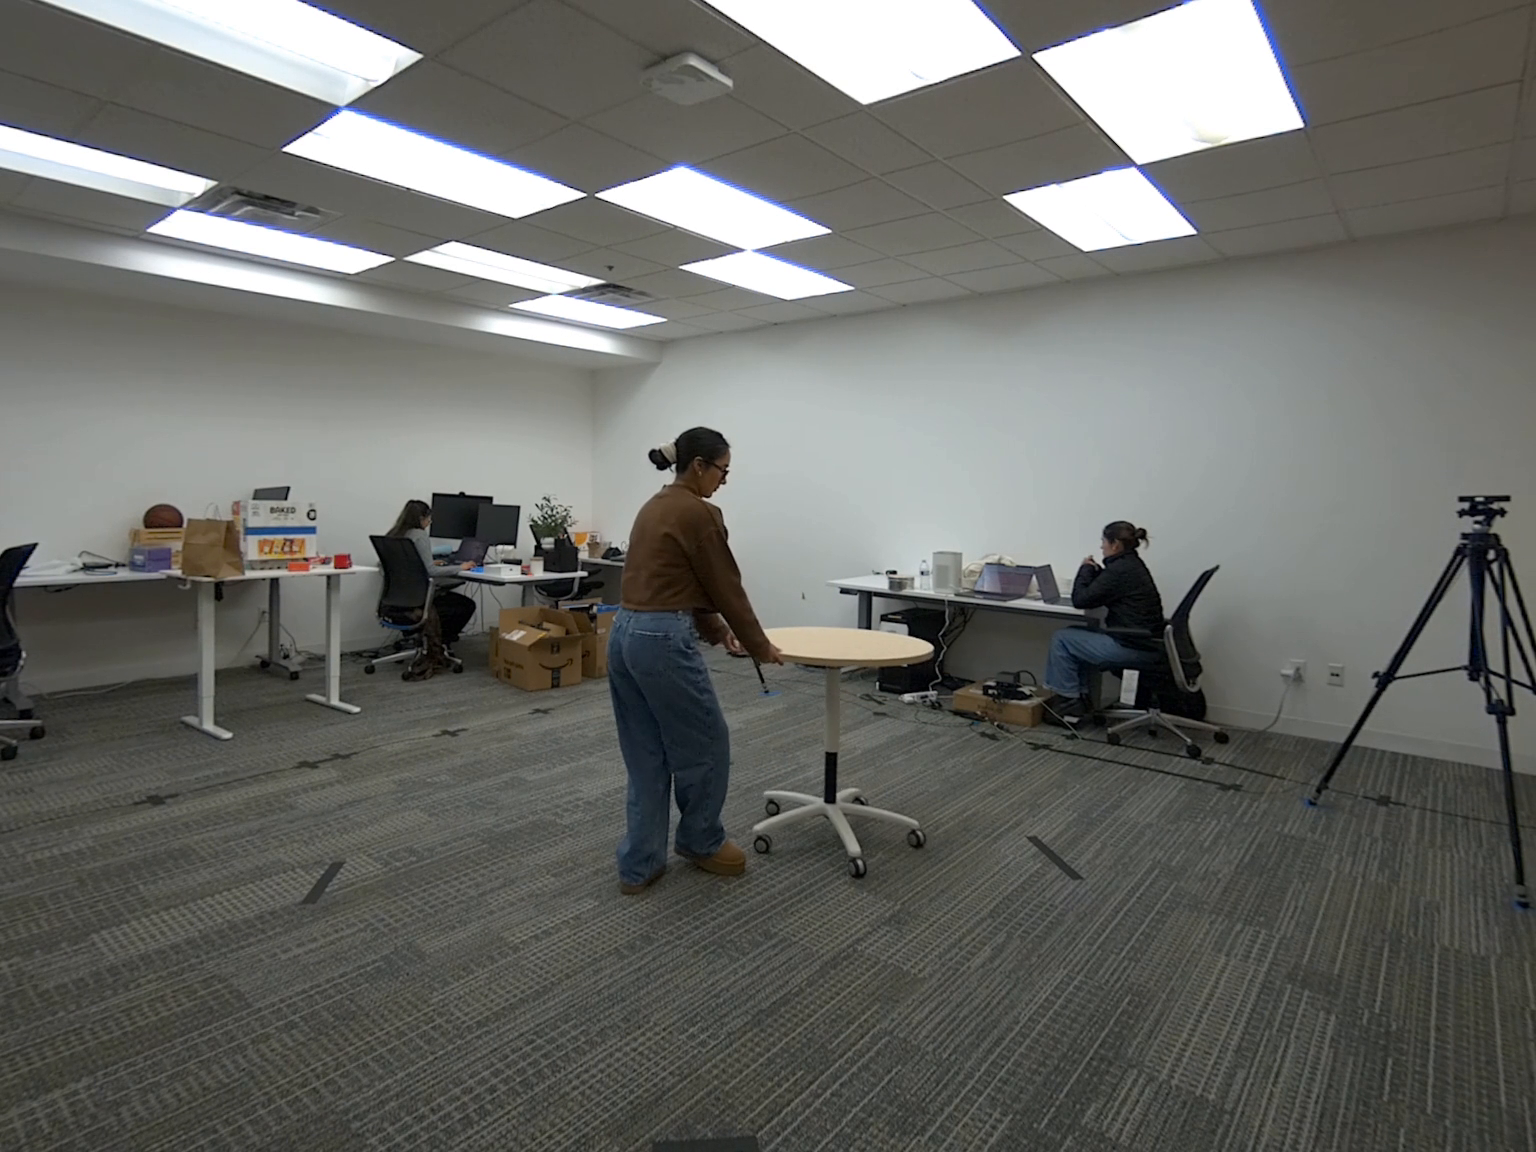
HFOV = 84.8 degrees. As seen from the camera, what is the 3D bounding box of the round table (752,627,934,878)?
[{"bbox_3d":[0.244,0.651,3.384,0.784,0.784,0.788,1,3,-2],"label":"round table"}]
